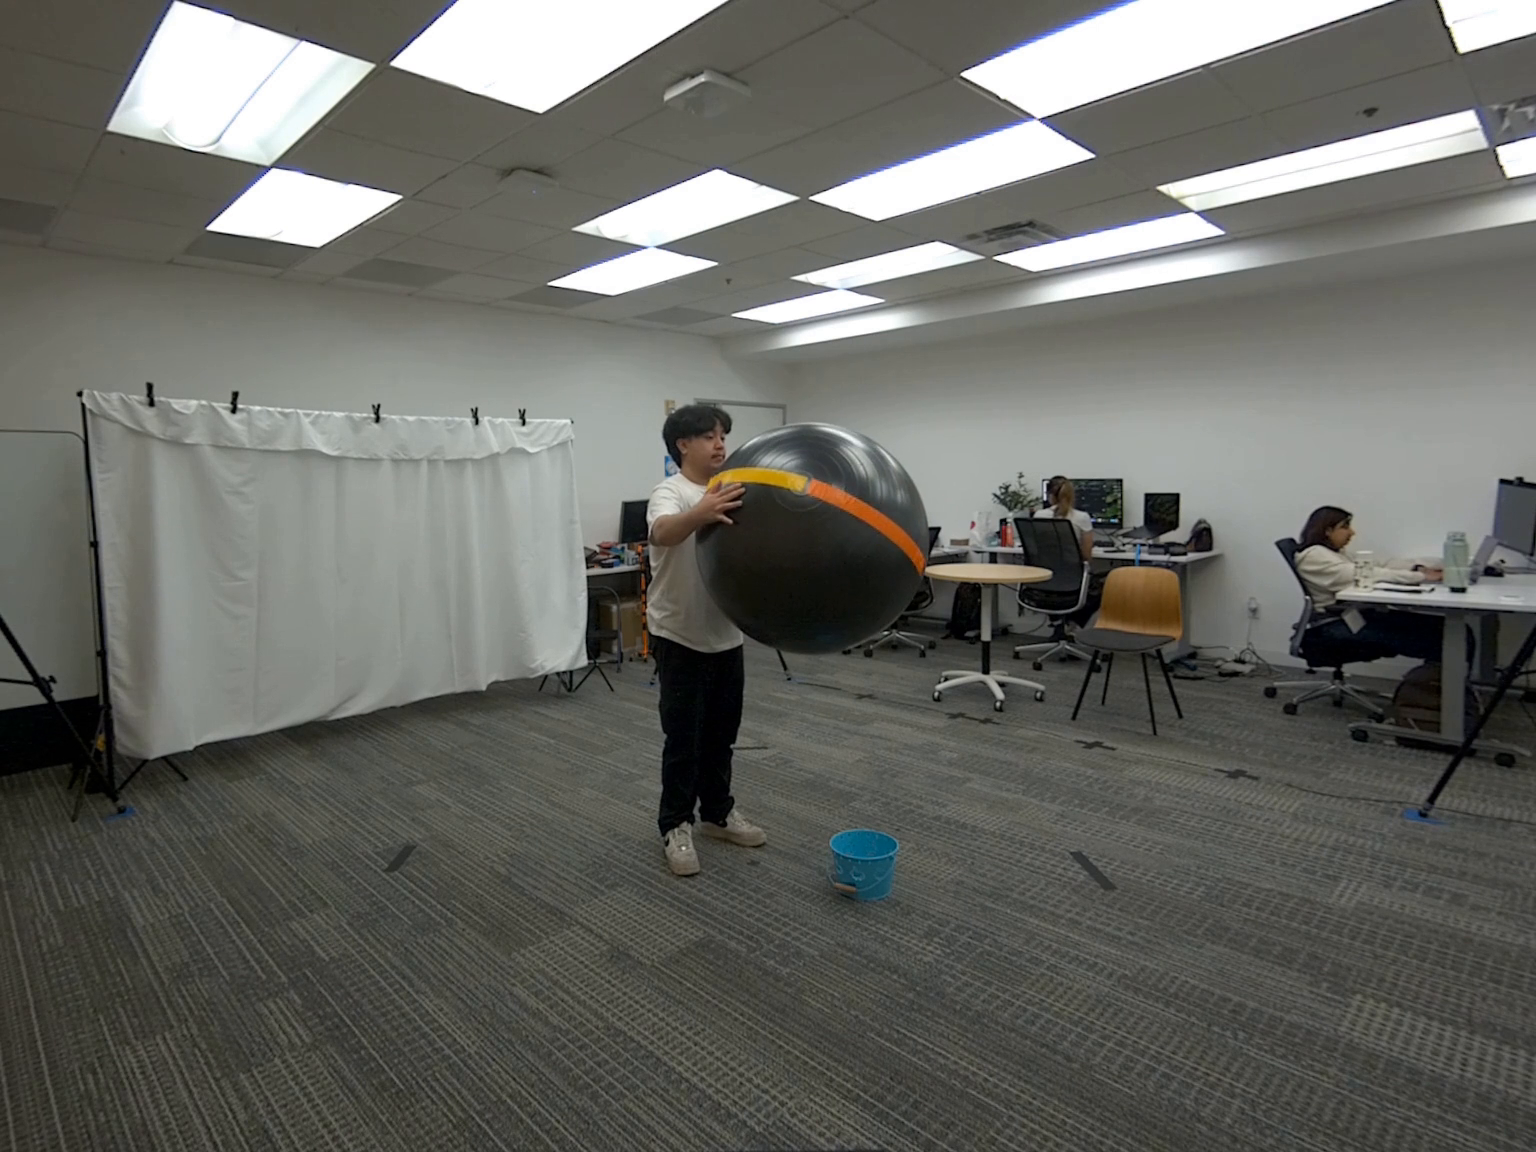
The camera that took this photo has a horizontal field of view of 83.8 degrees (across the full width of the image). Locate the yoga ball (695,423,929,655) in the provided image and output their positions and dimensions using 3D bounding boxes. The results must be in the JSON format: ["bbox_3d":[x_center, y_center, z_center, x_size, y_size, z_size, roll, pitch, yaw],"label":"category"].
[{"bbox_3d":[0.144,-0.113,2.804,0.757,0.755,0.762,-1,5,-2],"label":"yoga ball"}]
